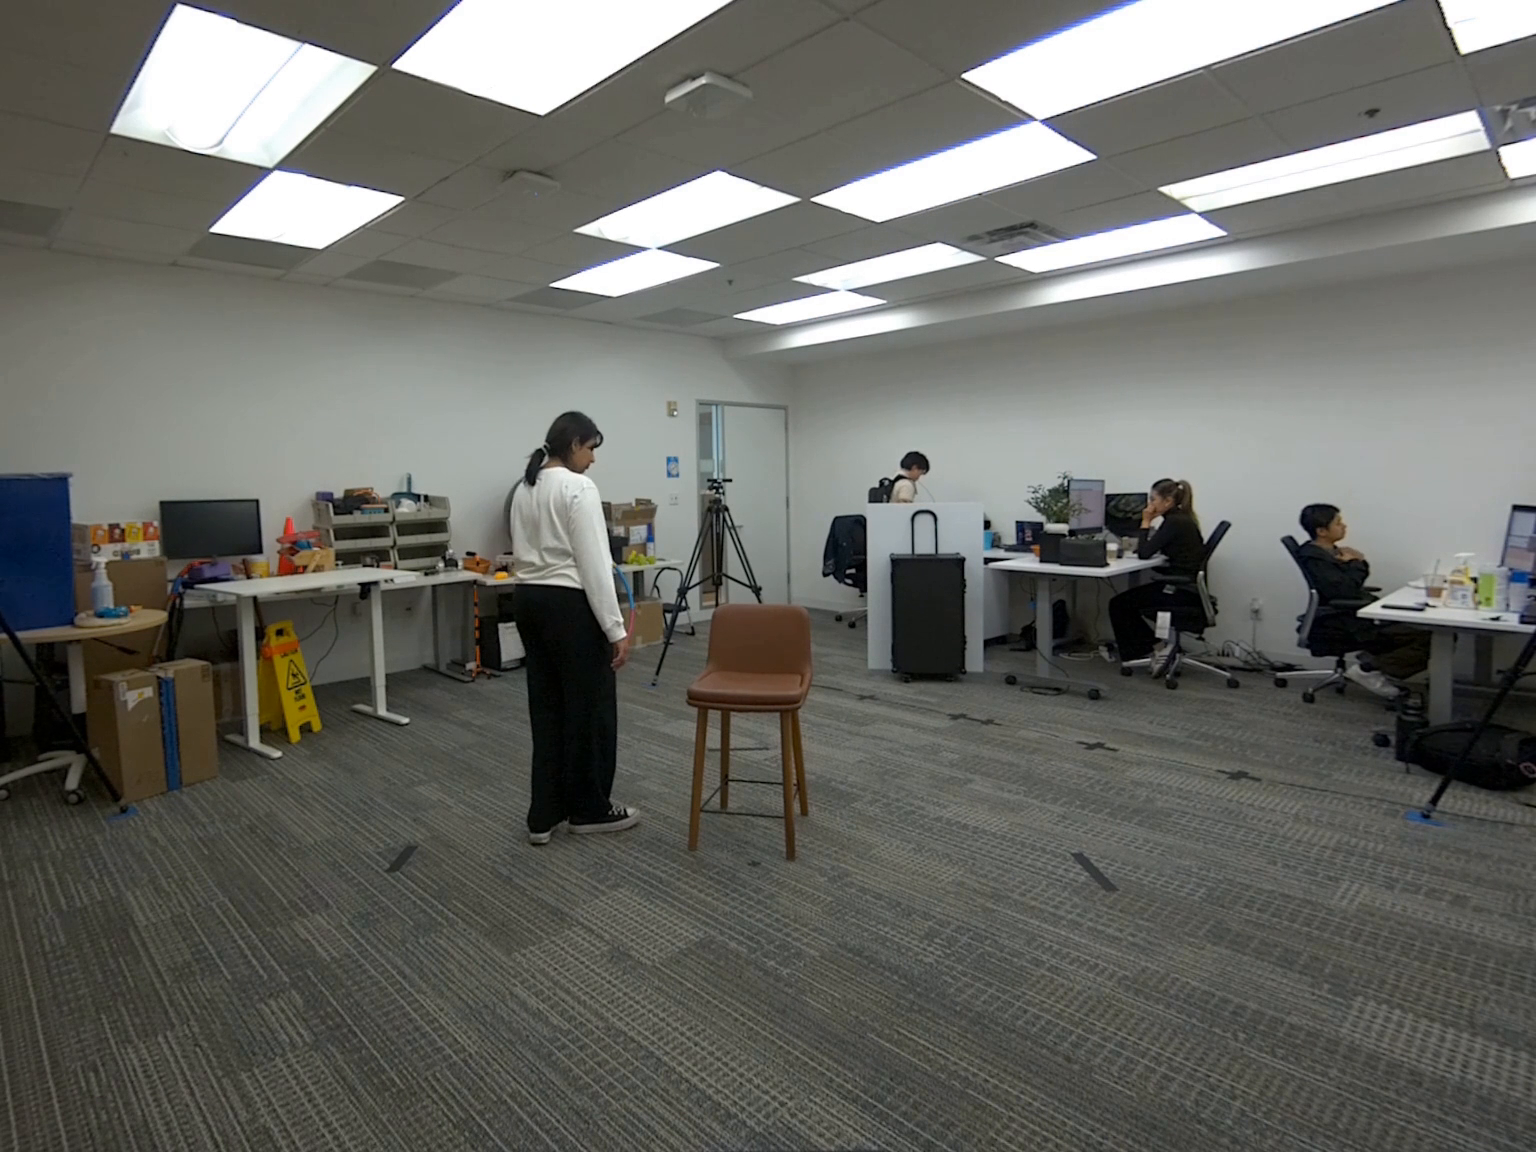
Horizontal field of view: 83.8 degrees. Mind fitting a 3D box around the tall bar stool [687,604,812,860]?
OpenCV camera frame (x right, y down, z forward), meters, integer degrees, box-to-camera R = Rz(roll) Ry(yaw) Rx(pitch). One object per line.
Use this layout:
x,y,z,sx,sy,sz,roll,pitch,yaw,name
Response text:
-0.067,0.582,3.363,0.463,0.888,0.462,0,2,14,tall bar stool
